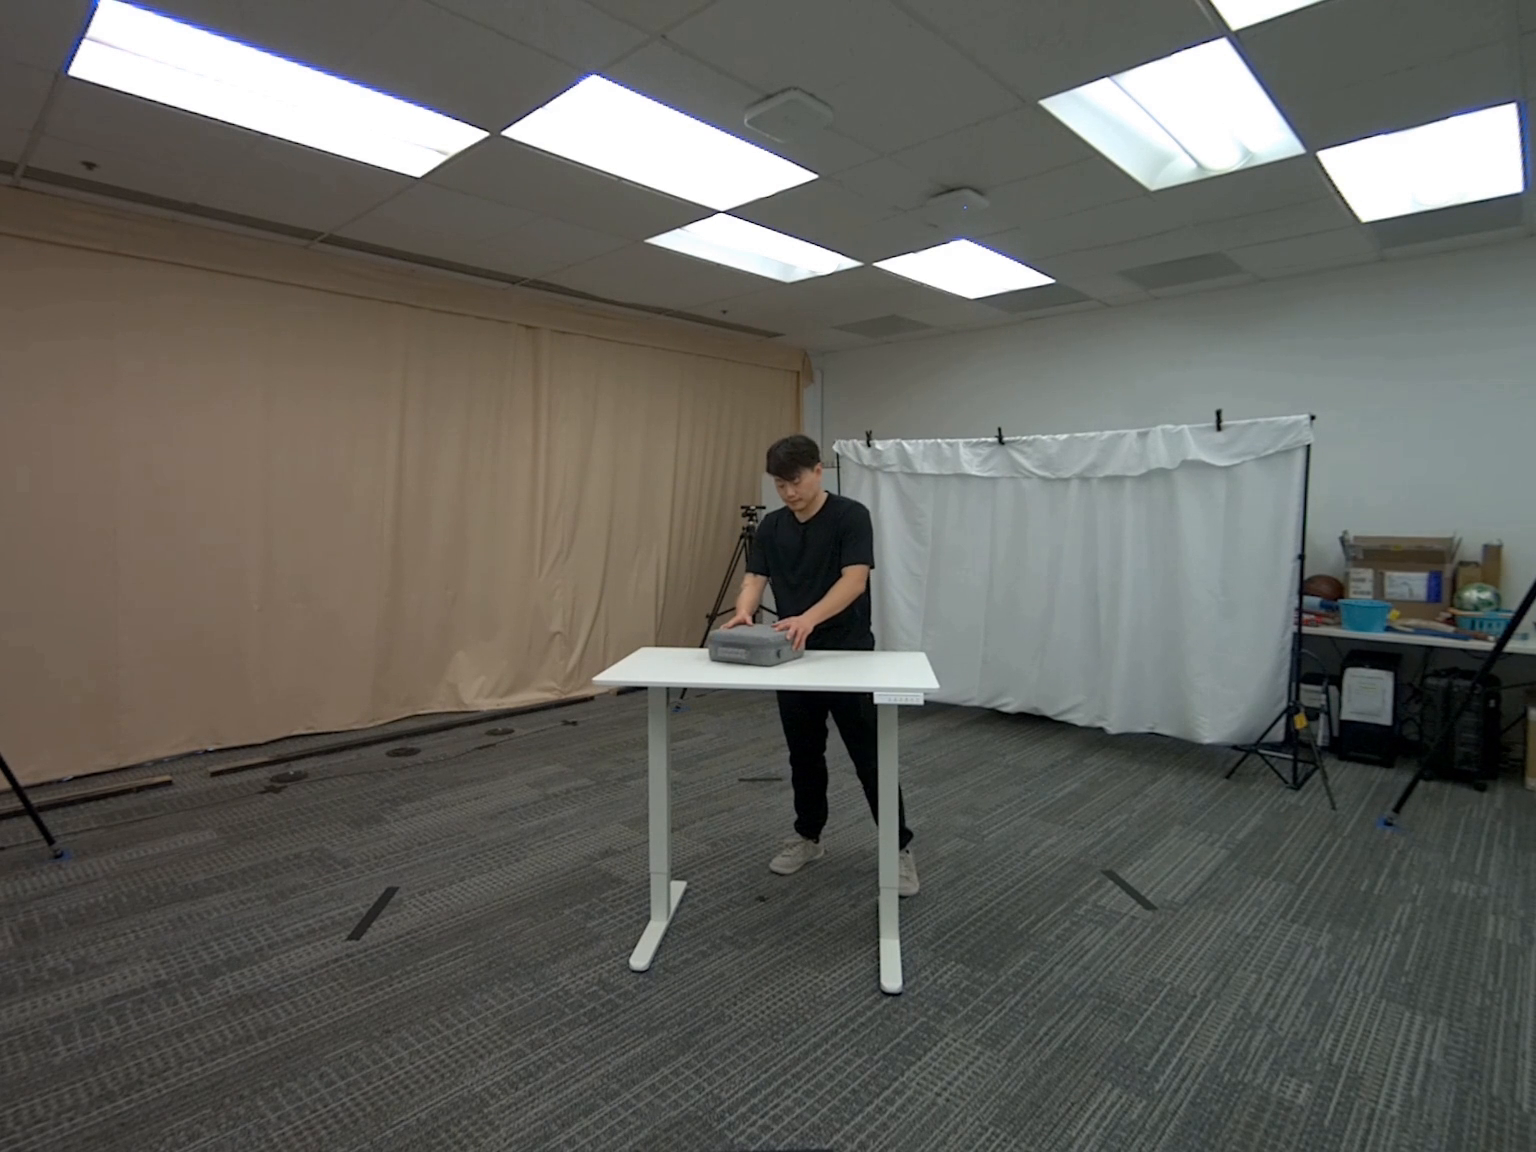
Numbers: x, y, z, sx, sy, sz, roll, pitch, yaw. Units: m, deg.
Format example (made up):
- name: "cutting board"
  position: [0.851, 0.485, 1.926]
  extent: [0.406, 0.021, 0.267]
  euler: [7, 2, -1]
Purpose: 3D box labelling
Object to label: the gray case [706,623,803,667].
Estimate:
- name: "gray case"
  position: [-0.033, 0.226, 2.804]
  extent: [0.265, 0.104, 0.253]
  euler: [4, 5, 32]
